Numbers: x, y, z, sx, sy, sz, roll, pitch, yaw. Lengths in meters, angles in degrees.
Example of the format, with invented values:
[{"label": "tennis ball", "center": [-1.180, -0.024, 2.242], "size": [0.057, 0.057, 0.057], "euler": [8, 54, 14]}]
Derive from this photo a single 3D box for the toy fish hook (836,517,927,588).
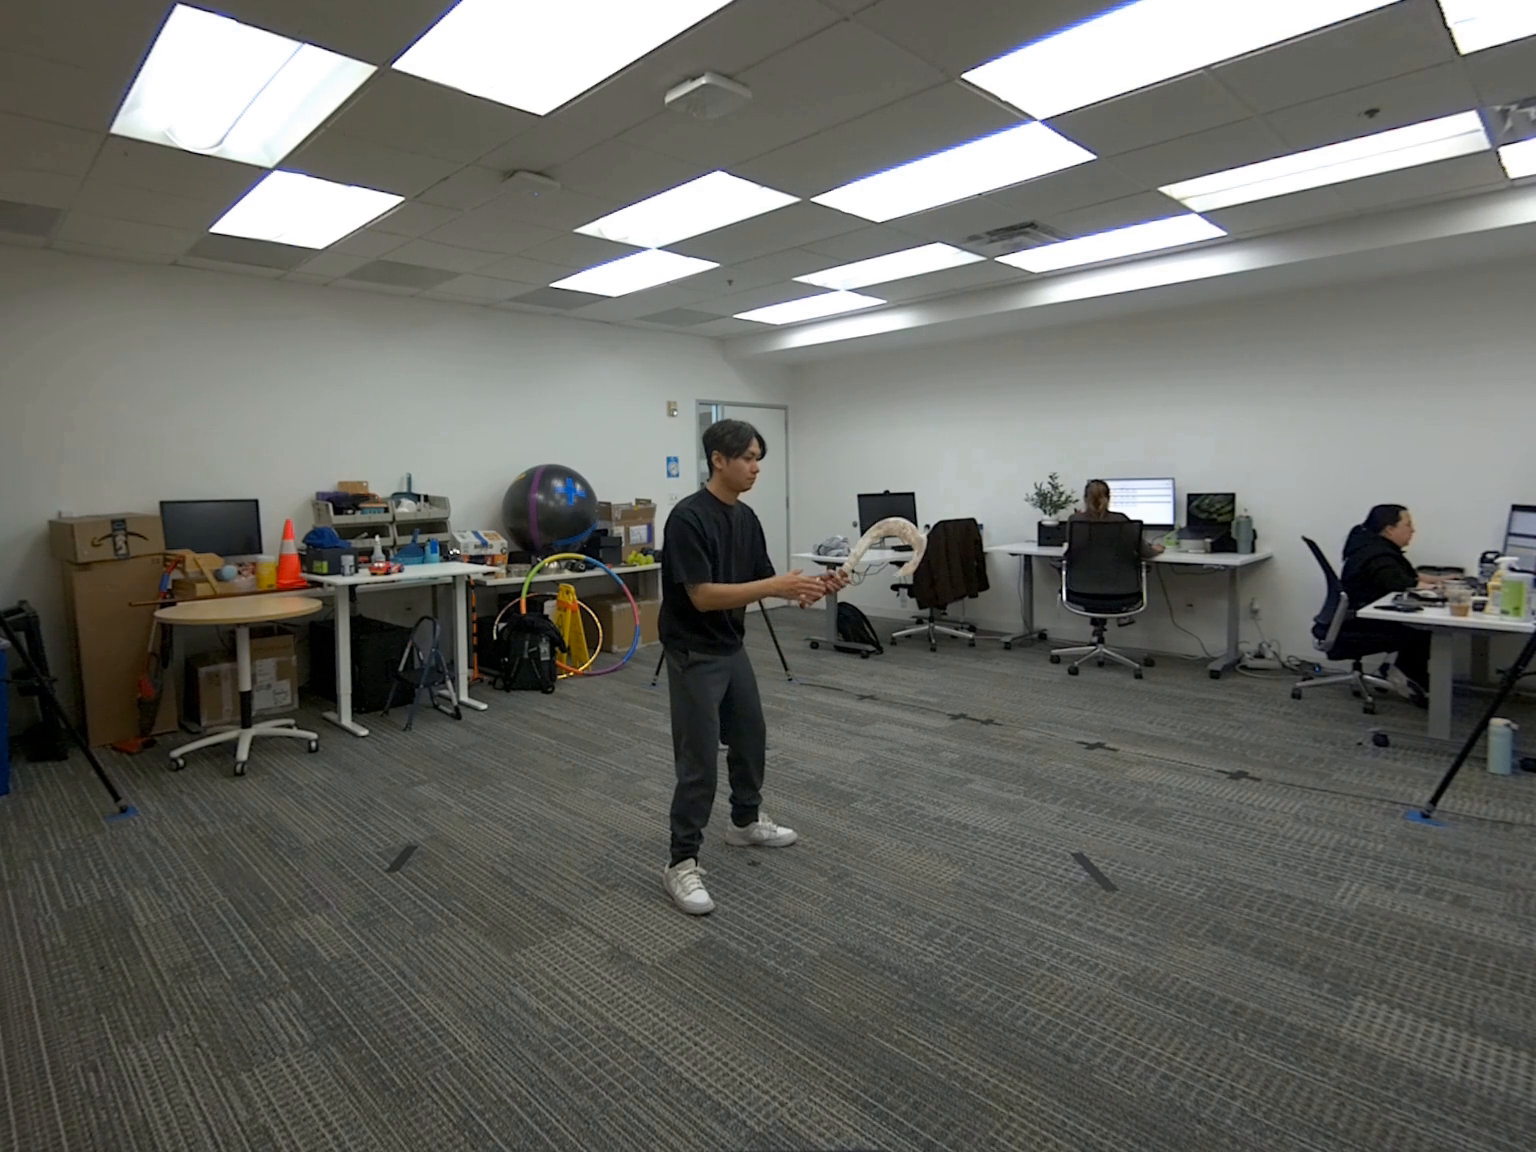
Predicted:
[{"label": "toy fish hook", "center": [0.317, 0.011, 2.981], "size": [0.506, 0.232, 0.047], "euler": [-38, -31, -7]}]
